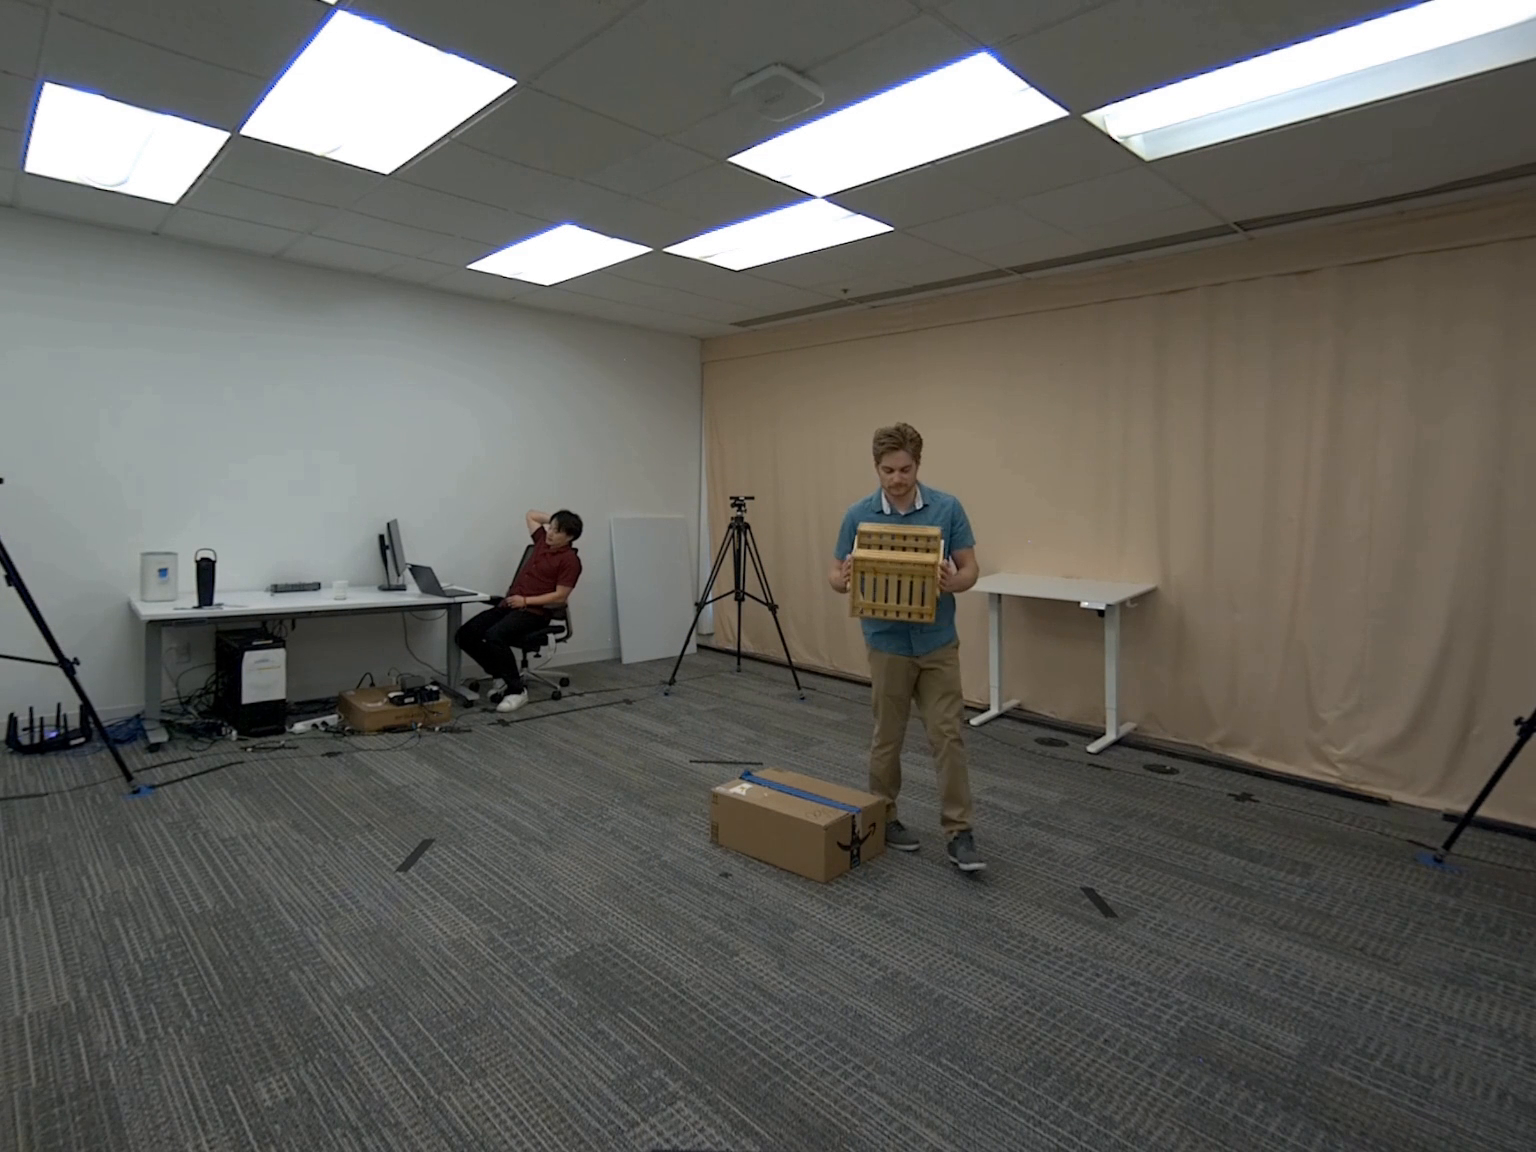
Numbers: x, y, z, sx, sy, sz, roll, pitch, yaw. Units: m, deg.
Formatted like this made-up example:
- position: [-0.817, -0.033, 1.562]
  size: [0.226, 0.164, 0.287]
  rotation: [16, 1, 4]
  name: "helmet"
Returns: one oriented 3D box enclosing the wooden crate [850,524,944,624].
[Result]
- position: [0.468, -0.004, 3.094]
  size: [0.328, 0.298, 0.274]
  rotation: [5, 20, 14]
  name: "wooden crate"
